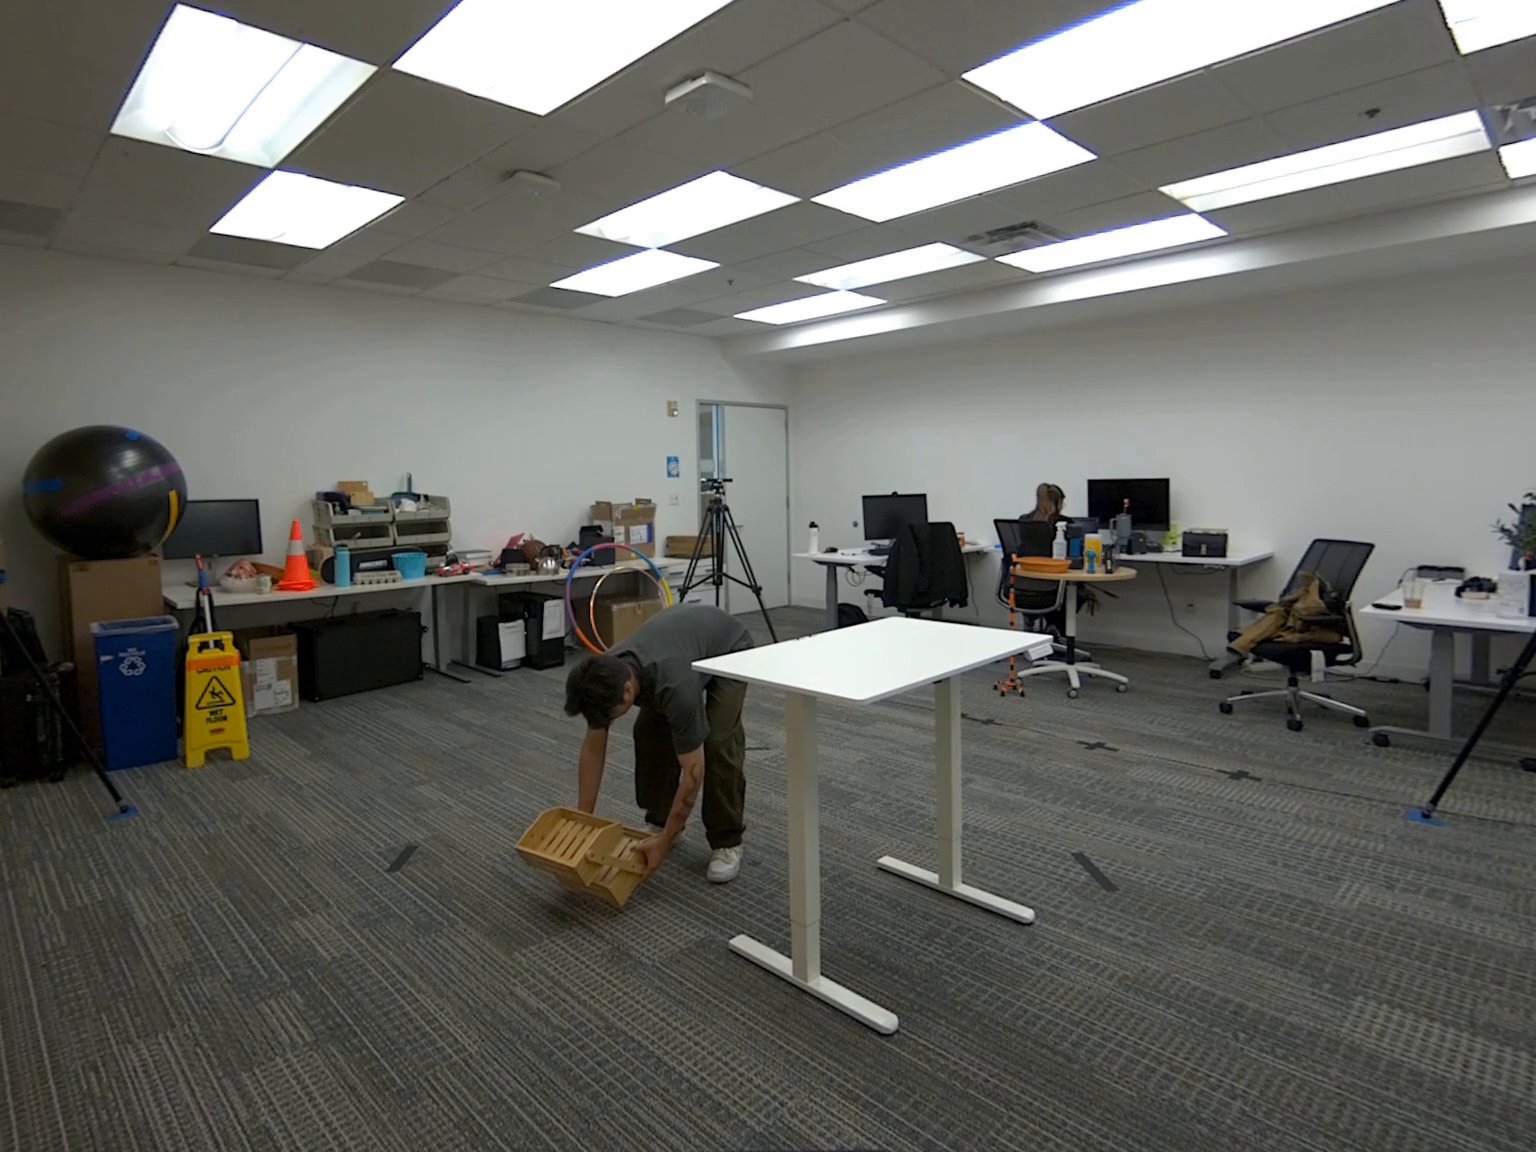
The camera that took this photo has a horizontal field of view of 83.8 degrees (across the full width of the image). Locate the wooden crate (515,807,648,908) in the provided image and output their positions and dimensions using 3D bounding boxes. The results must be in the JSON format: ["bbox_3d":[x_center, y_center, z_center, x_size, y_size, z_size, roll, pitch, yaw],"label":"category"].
[{"bbox_3d":[-0.602,0.897,2.826,0.333,0.265,0.302,-1,36,38],"label":"wooden crate"}]
